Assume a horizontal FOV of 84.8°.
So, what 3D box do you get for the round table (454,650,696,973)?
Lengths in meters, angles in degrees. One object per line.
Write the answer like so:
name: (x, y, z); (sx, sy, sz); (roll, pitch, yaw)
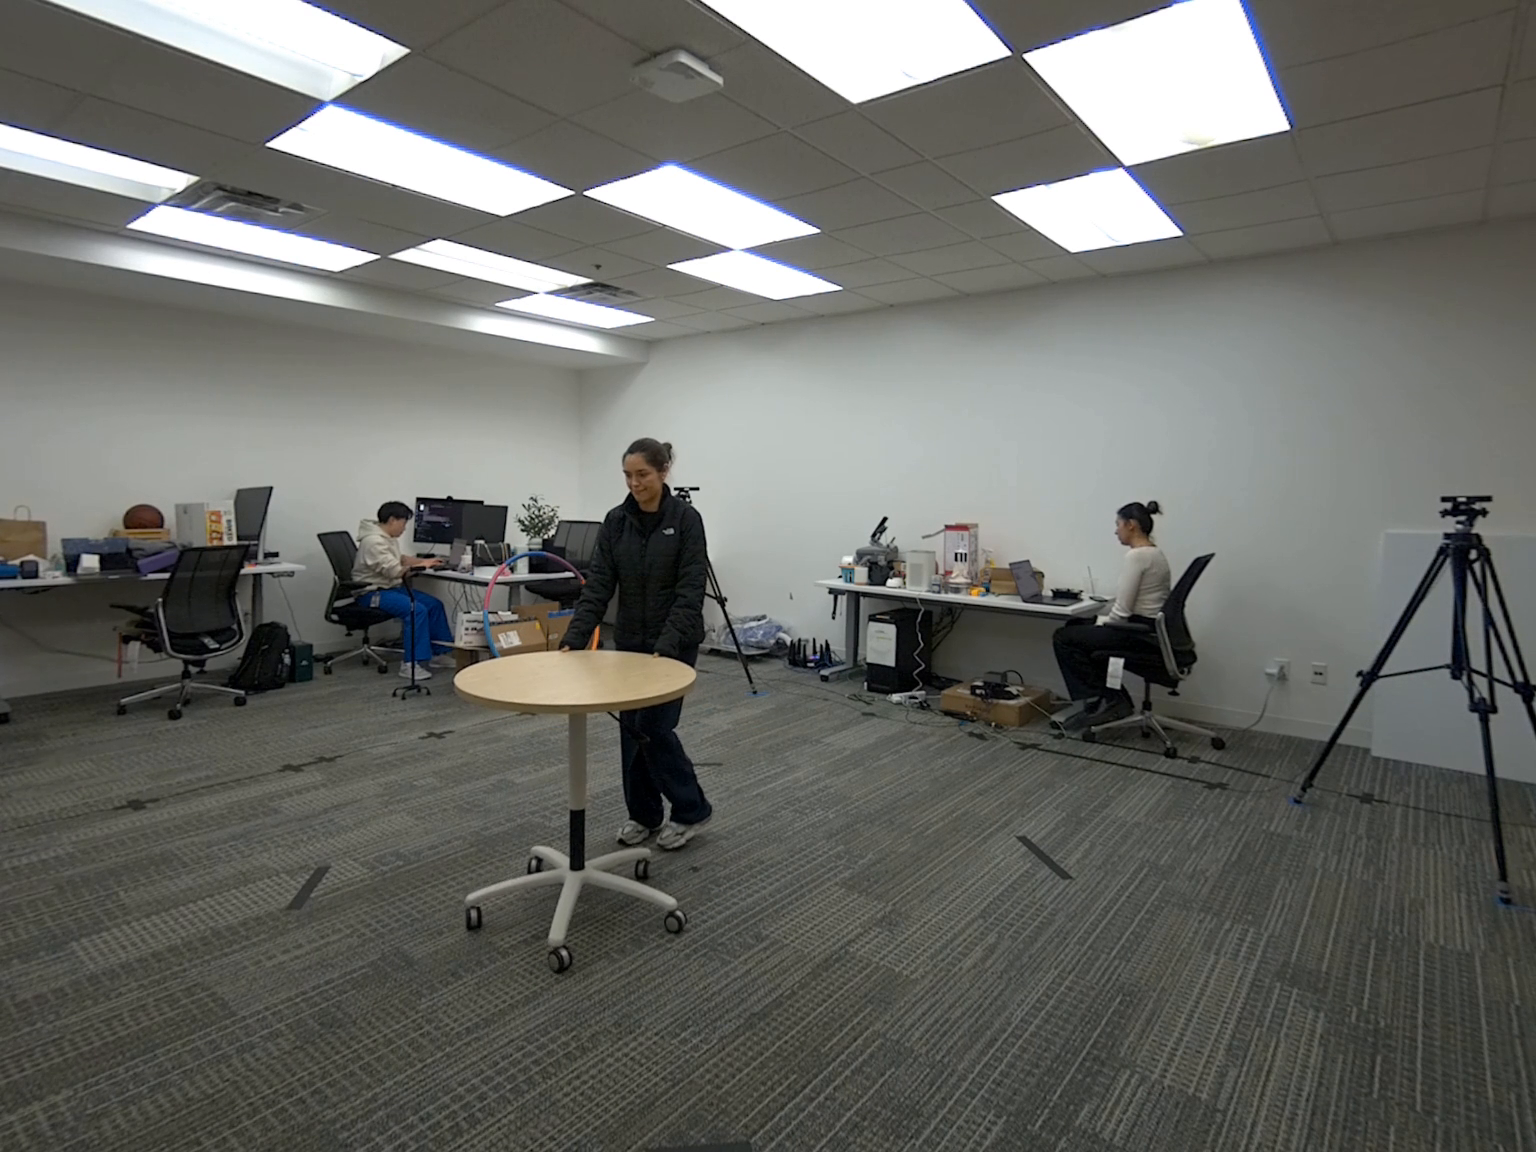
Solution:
round table: (-0.600, 0.697, 2.788); (0.784, 0.784, 0.789); (1, 5, -2)
